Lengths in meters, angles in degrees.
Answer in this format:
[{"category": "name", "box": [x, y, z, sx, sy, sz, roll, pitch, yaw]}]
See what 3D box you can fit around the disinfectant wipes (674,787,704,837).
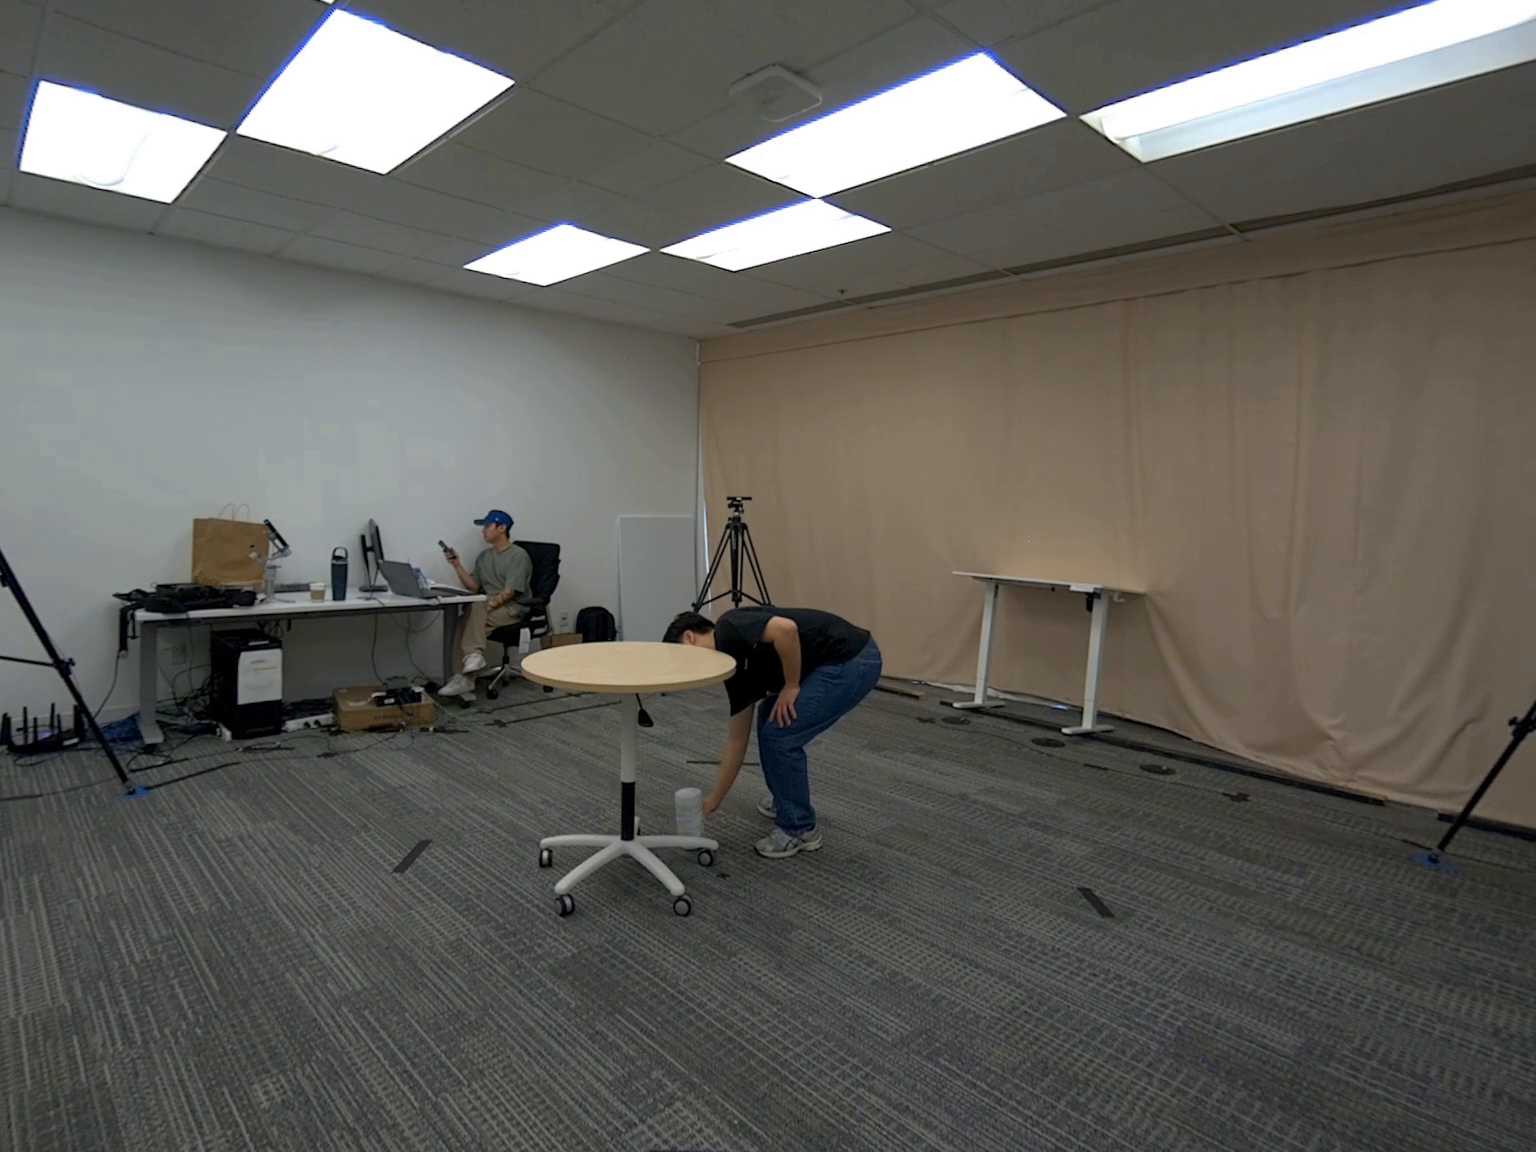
[{"category": "disinfectant wipes", "box": [-0.311, 0.966, 3.367, 0.118, 0.216, 0.118, -5, 6, -1]}]
